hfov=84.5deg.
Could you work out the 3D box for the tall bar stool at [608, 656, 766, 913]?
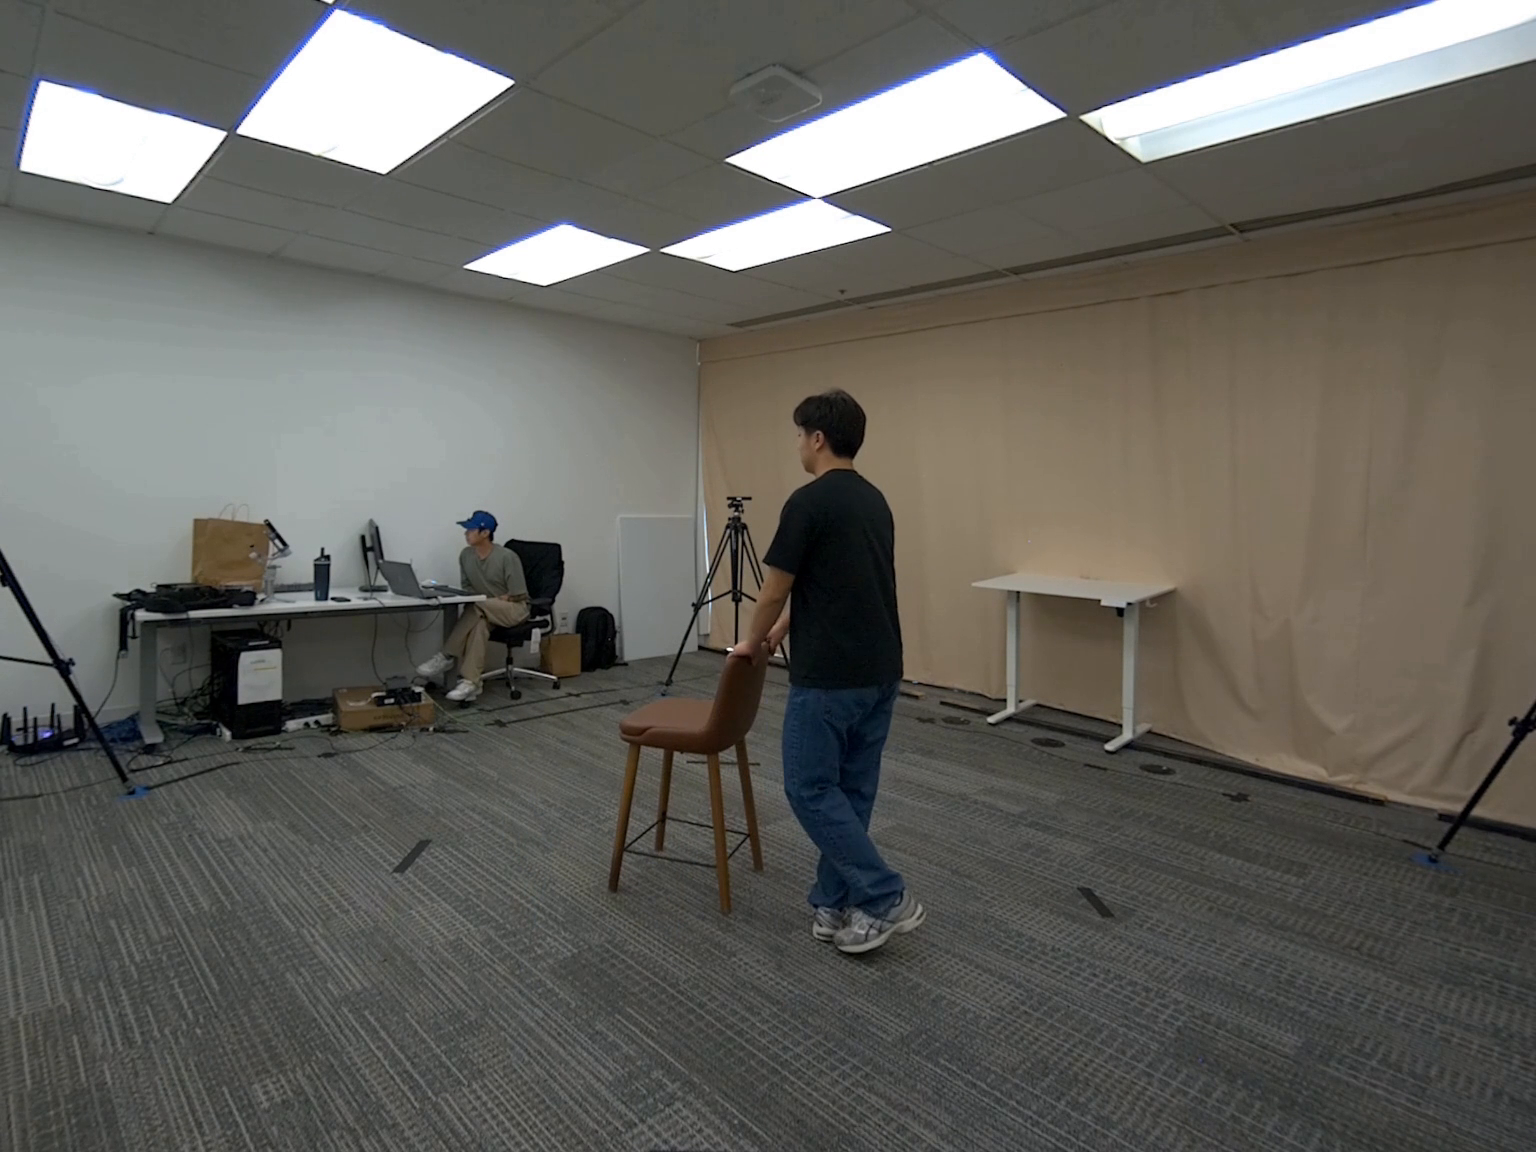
[{"bbox_3d":[-0.271,0.674,3.042,0.476,0.887,0.450,5,5,20],"label":"tall bar stool"}]
